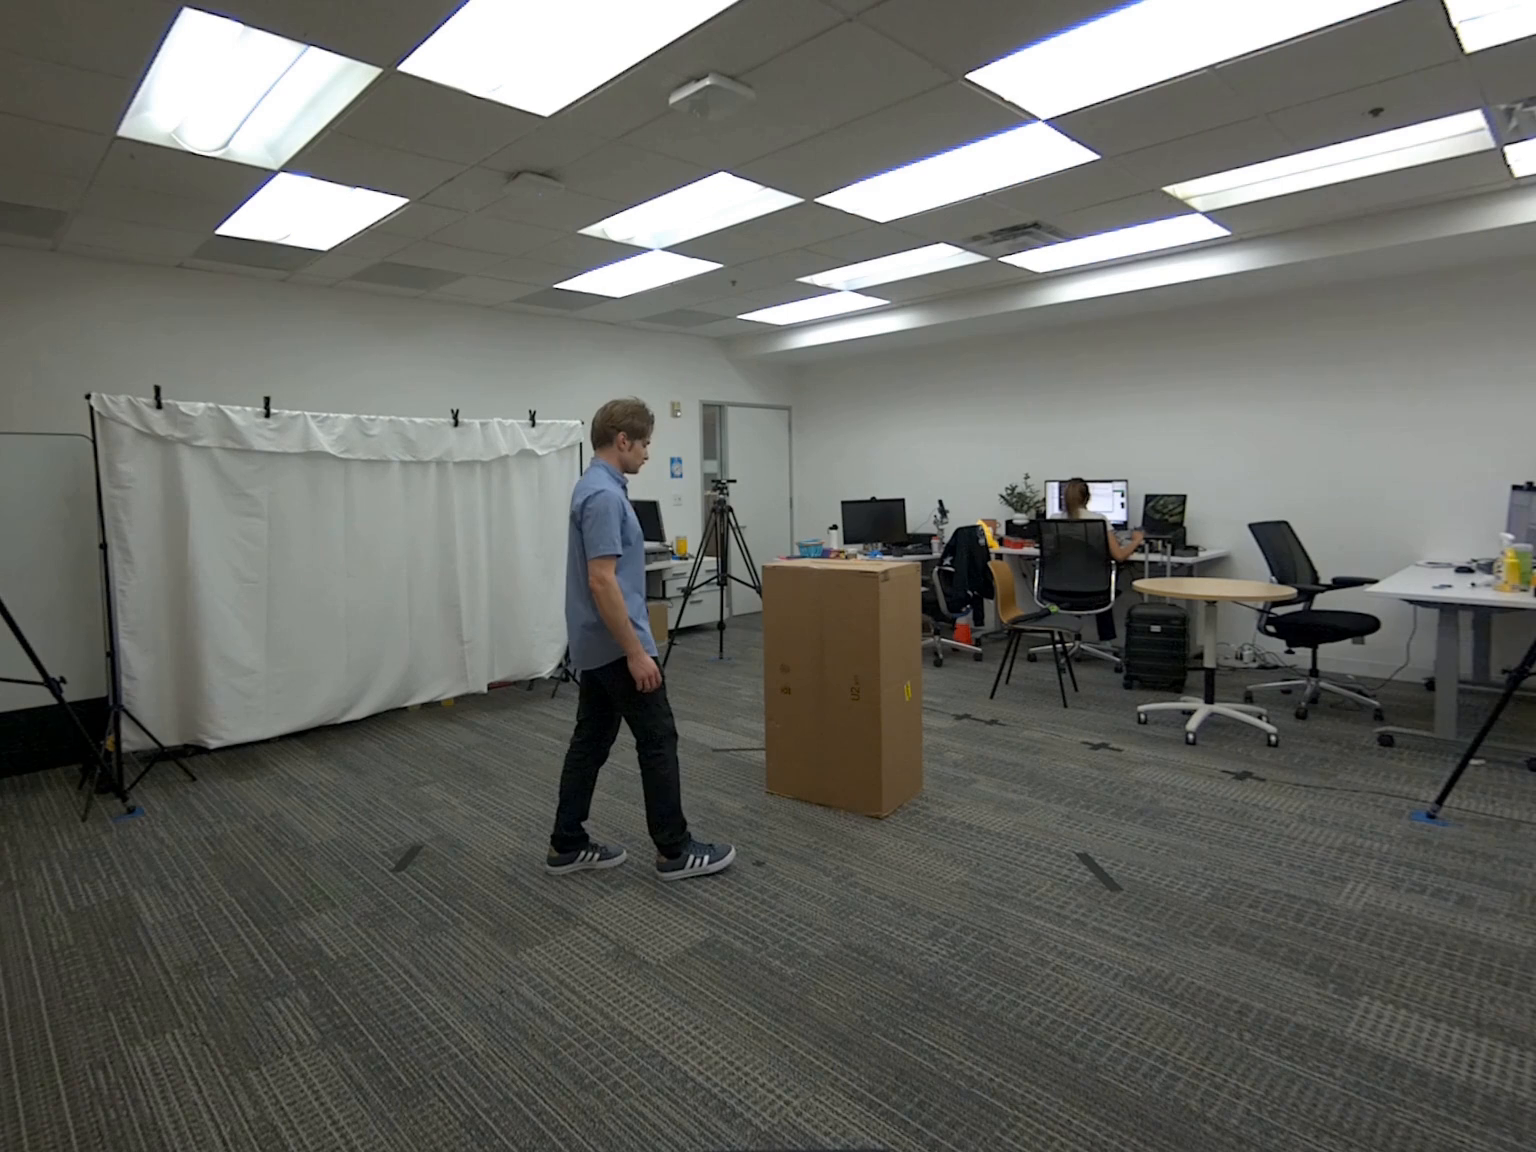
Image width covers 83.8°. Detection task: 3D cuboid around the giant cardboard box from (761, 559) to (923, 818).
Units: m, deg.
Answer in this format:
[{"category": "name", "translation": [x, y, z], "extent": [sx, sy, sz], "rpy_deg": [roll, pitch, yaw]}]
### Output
[{"category": "giant cardboard box", "translation": [0.333, 0.455, 3.802], "extent": [0.594, 1.023, 0.415], "rpy_deg": [1, 4, 35]}]
